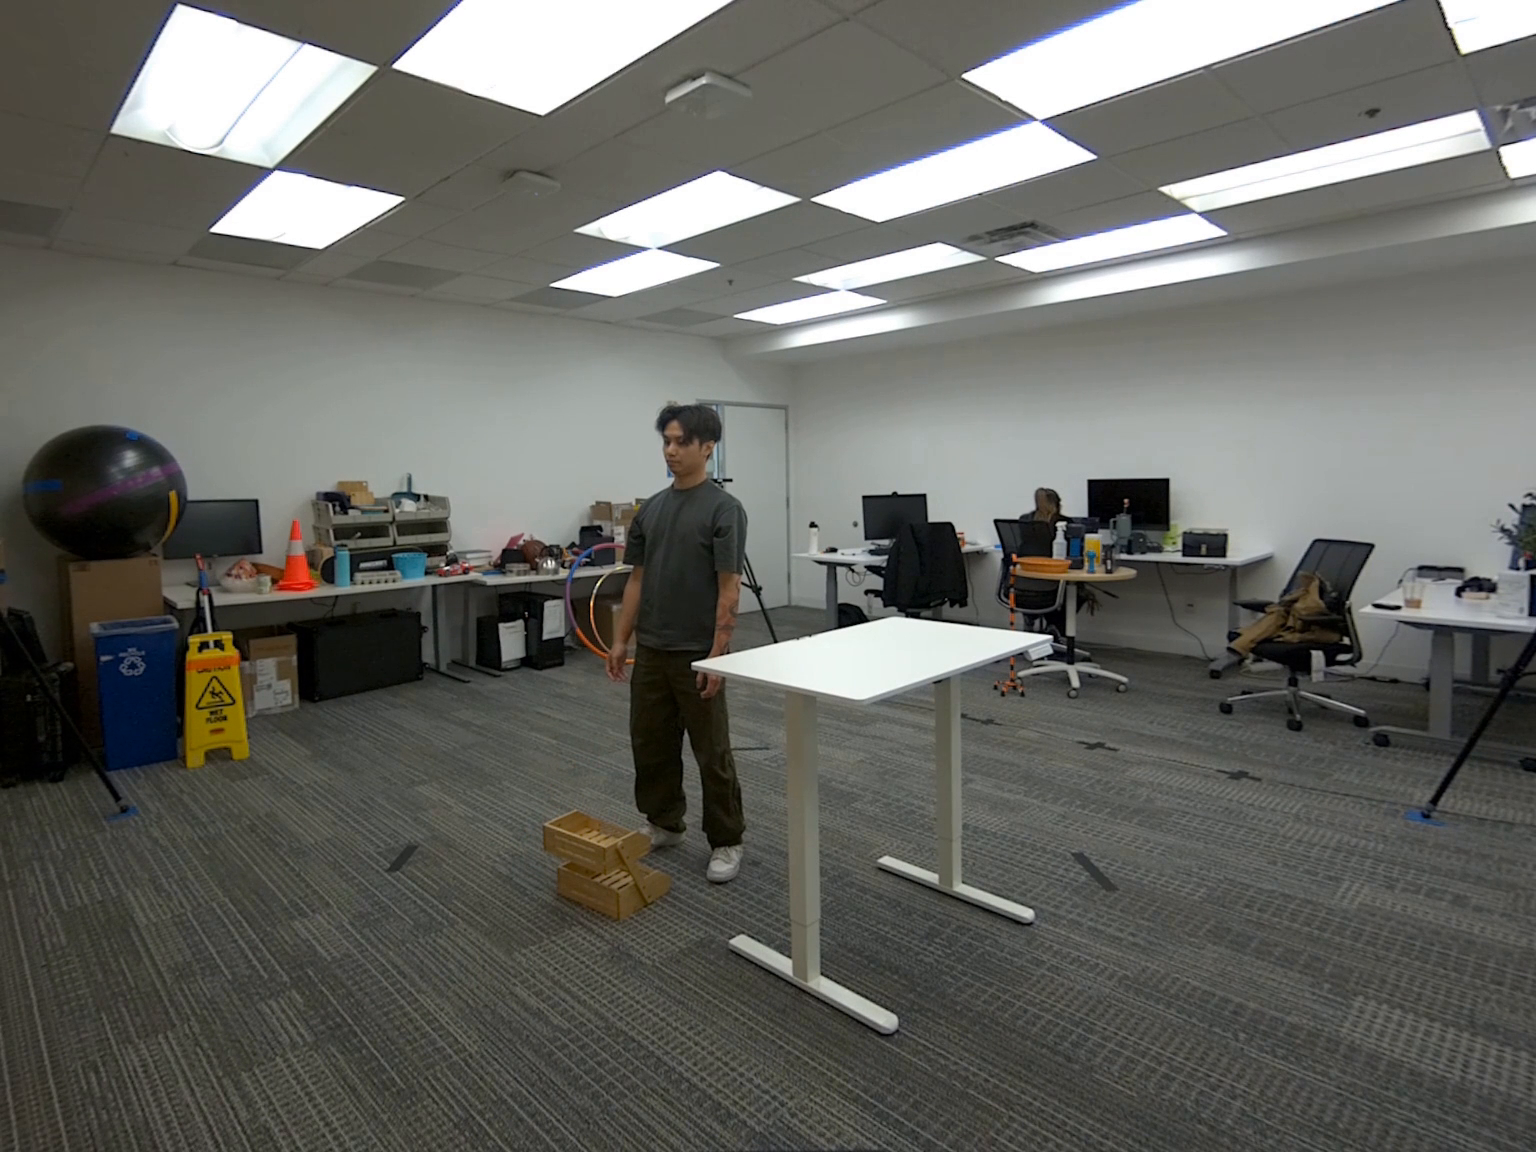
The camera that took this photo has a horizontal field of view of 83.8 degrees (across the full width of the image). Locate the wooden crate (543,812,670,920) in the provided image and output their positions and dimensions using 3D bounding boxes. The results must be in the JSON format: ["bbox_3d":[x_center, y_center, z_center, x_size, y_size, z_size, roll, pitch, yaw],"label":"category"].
[{"bbox_3d":[-0.529,0.938,2.888,0.334,0.272,0.295,3,8,37],"label":"wooden crate"}]
